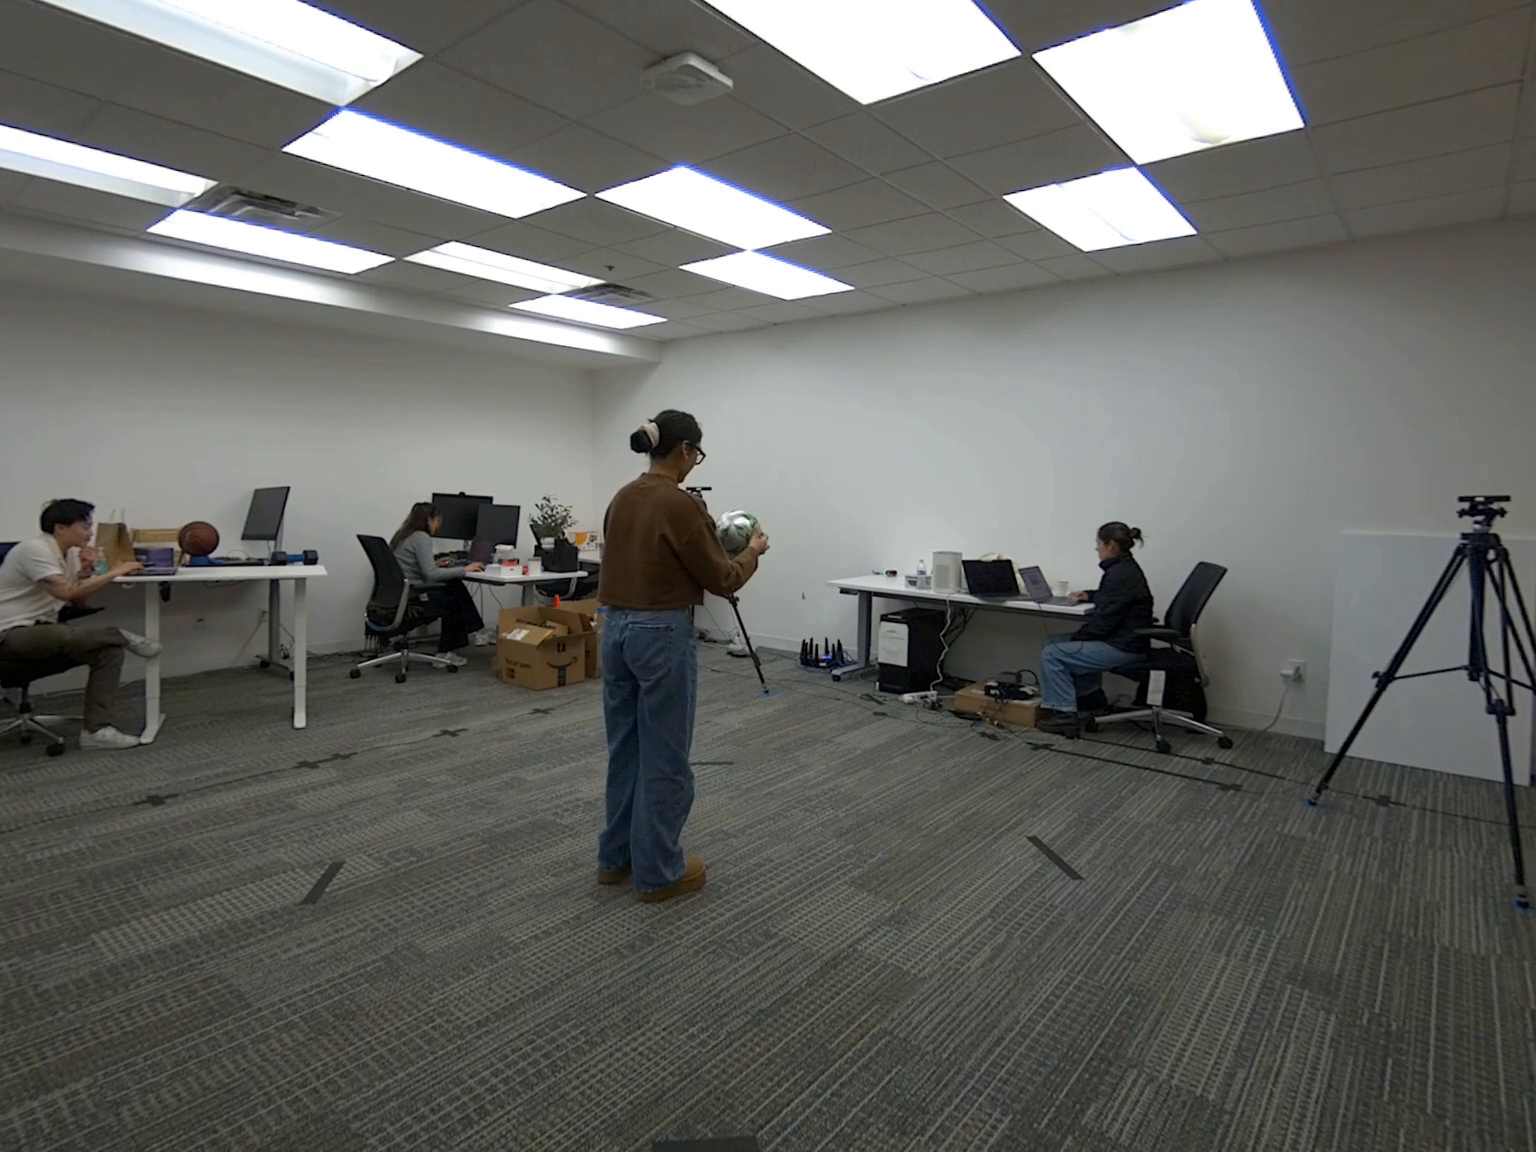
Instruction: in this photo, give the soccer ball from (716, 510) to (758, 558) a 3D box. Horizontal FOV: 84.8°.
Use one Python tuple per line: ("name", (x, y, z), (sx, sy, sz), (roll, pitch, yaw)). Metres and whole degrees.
("soccer ball", (-0.130, -0.157, 3.181), (0.187, 0.187, 0.188), (1, 4, -2))
